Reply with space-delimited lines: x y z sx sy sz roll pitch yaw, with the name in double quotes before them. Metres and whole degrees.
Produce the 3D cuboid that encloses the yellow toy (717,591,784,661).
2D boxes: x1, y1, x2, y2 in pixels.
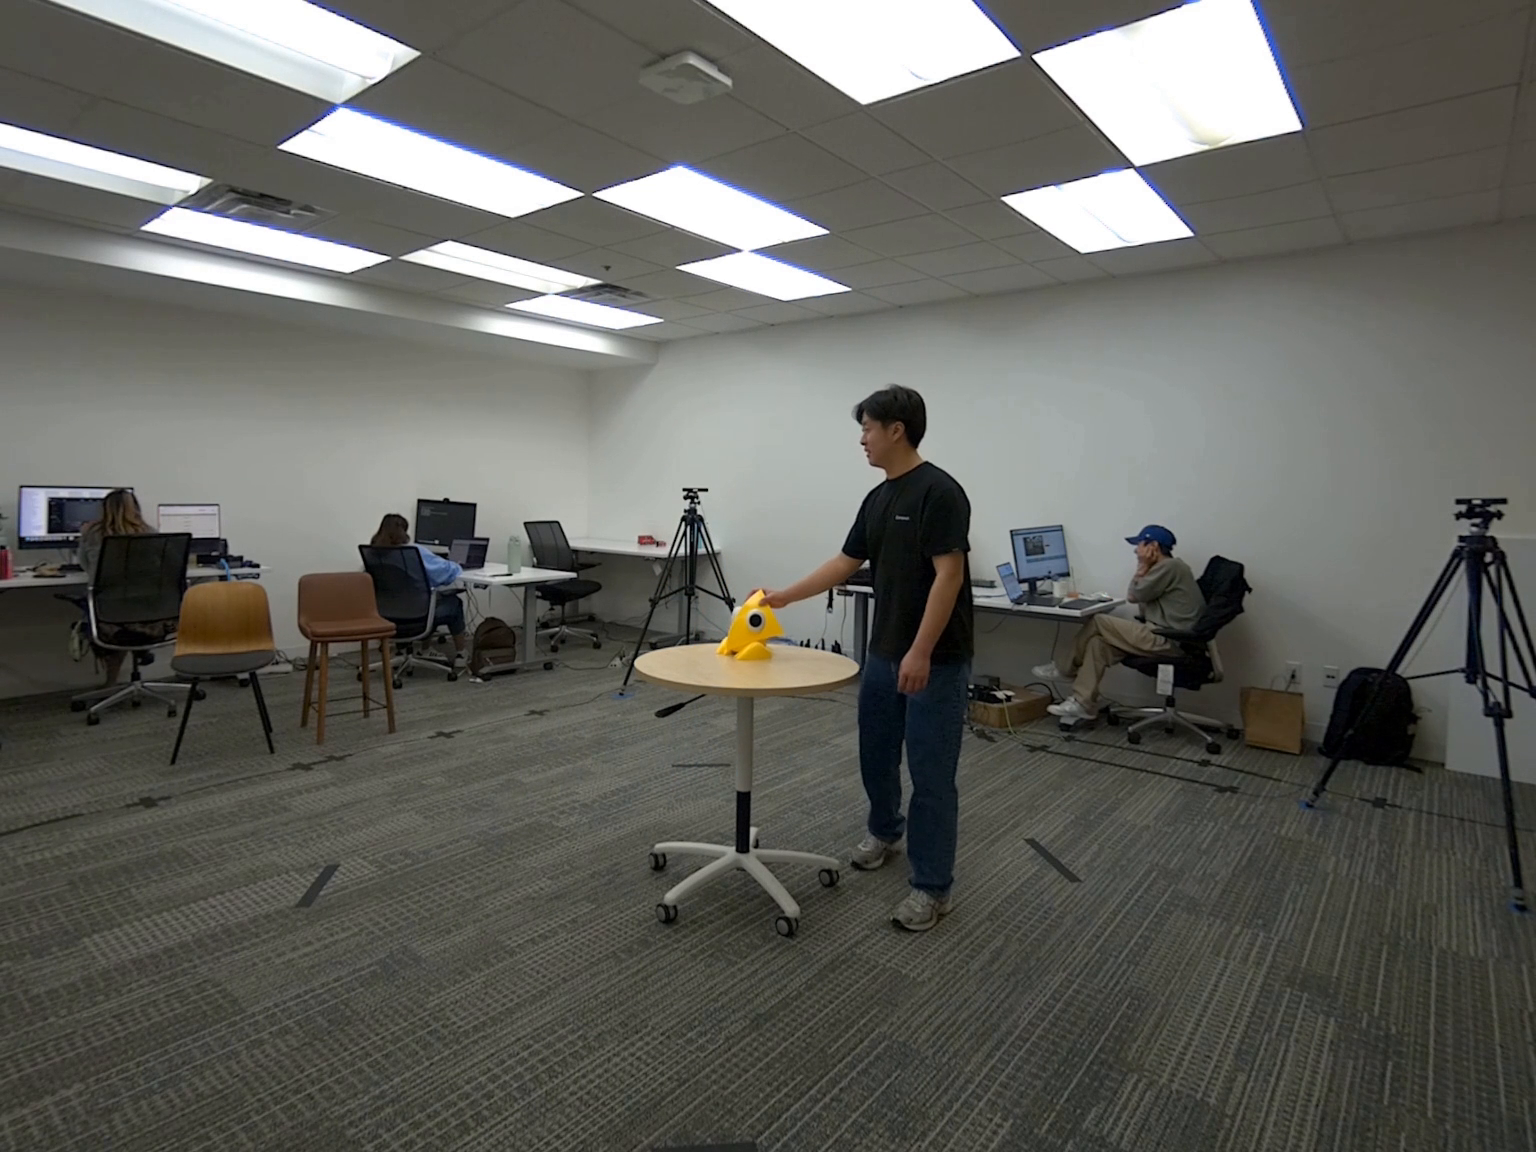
"yellow toy" -0.082 0.167 3.062 0.187 0.230 0.211 -3 5 -36
